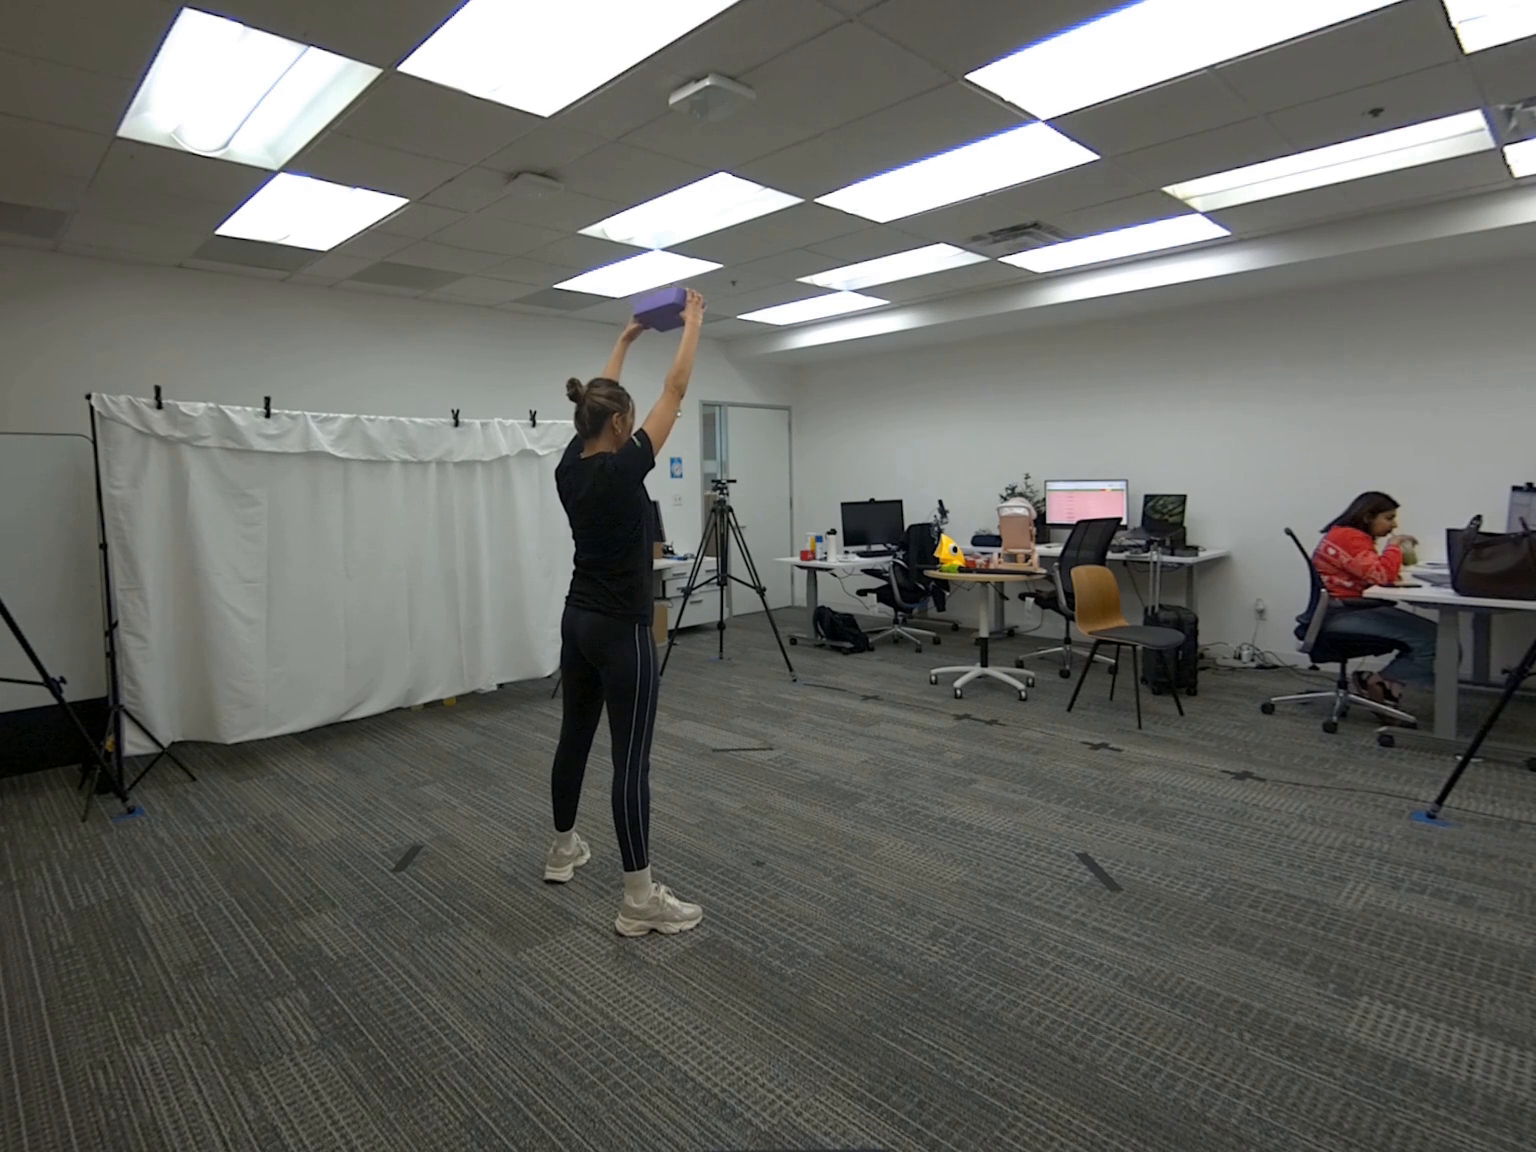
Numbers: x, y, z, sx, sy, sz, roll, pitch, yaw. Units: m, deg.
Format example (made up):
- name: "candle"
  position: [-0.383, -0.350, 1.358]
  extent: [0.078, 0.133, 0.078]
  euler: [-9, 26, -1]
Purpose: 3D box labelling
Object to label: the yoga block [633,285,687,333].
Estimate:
- name: "yoga block"
  position: [-0.354, -0.937, 3.016]
  extent: [0.236, 0.077, 0.143]
  euler: [0, -13, 43]
